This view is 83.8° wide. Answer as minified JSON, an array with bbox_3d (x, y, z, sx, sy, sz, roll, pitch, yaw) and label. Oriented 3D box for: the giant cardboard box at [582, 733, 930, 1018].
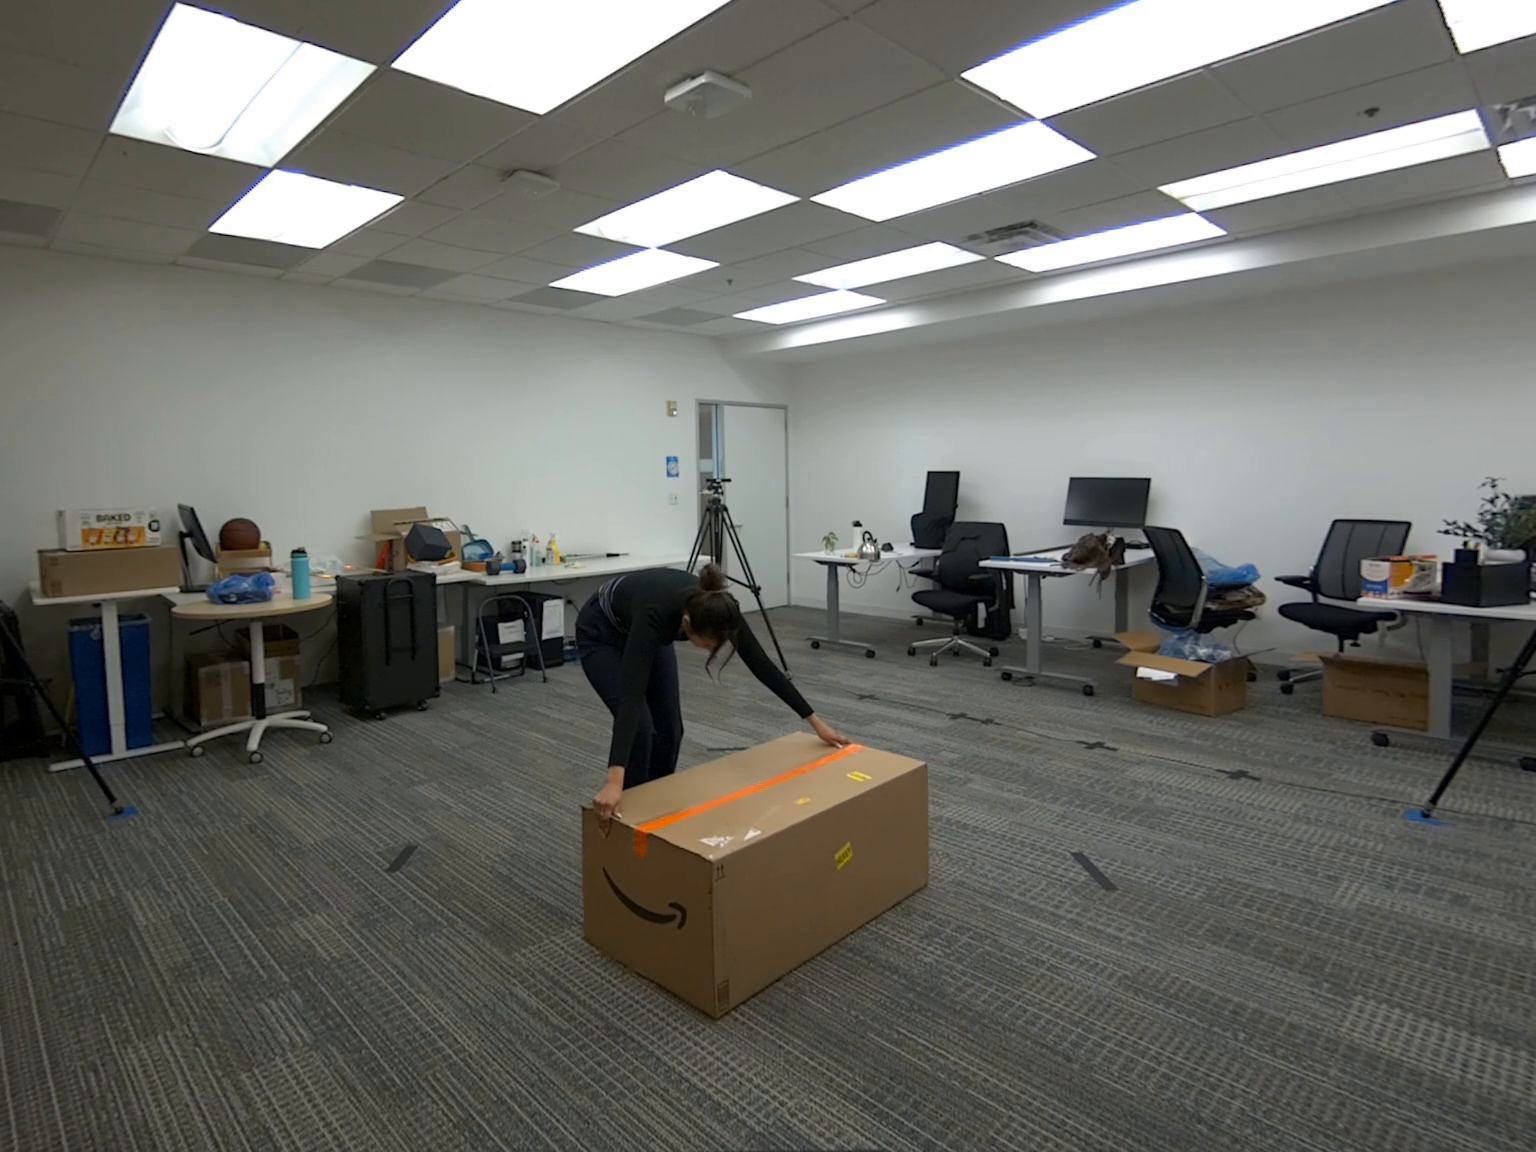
[{"bbox_3d":[-0.007,0.871,2.744,0.595,0.424,0.999,4,8,43],"label":"giant cardboard box"}]
